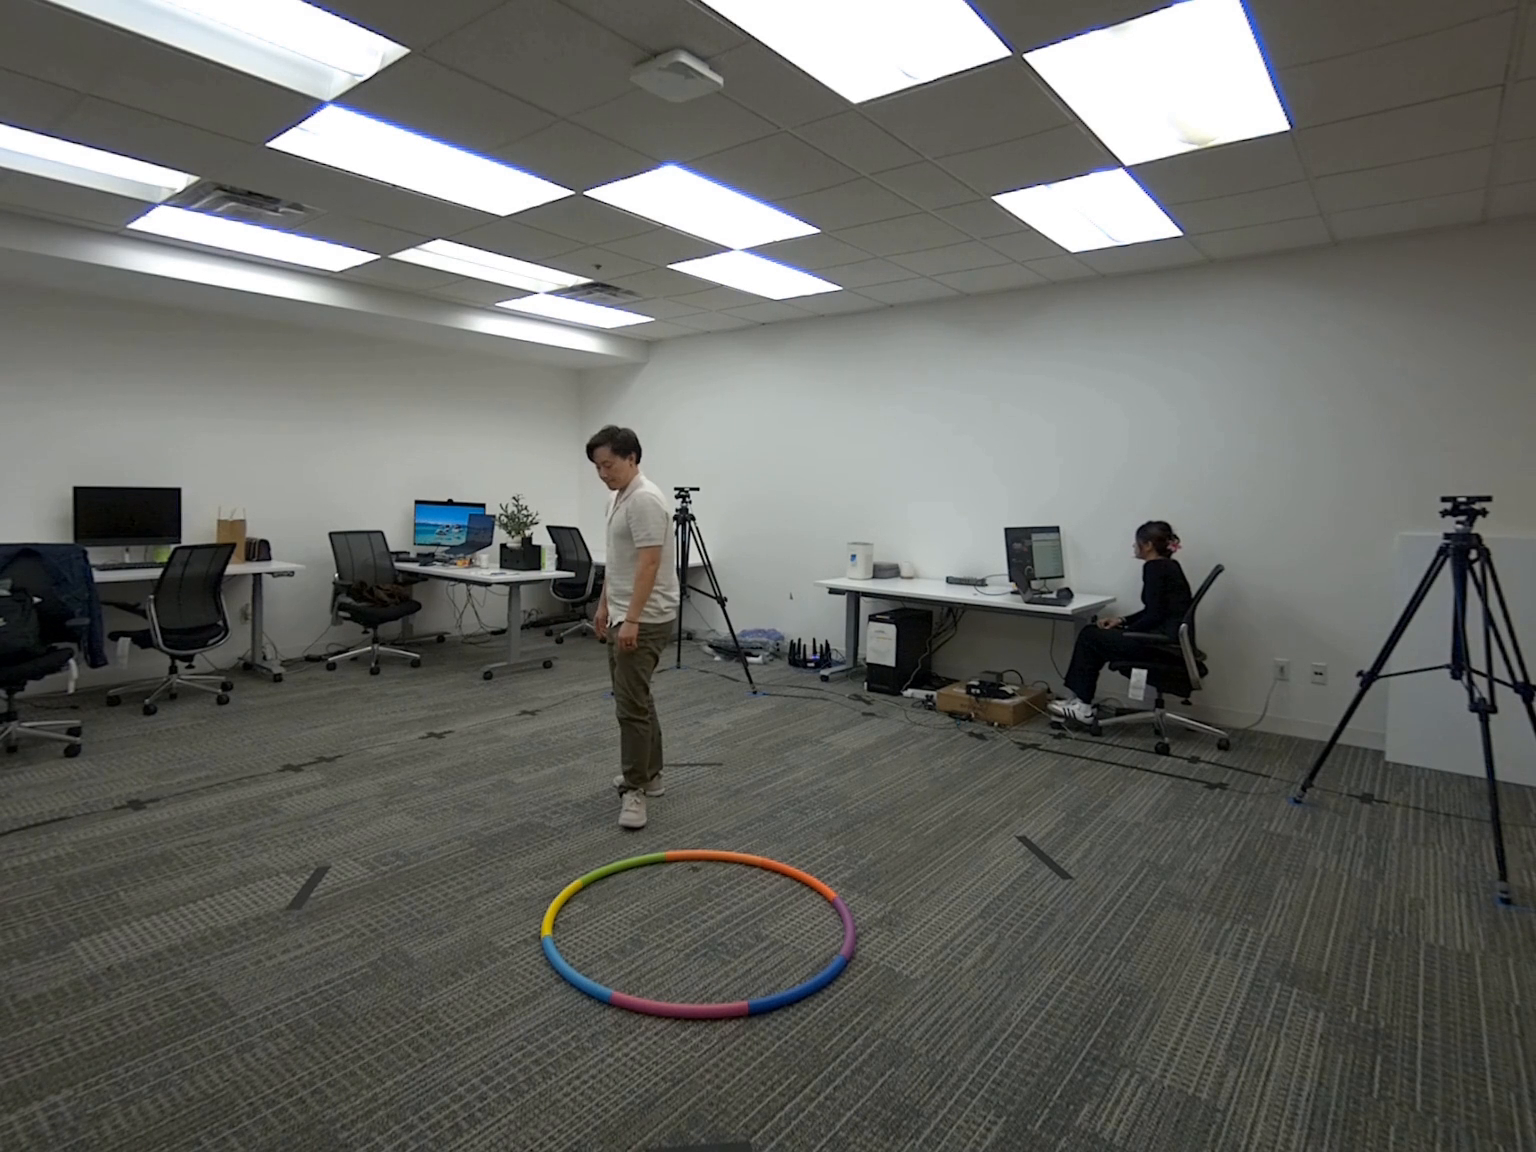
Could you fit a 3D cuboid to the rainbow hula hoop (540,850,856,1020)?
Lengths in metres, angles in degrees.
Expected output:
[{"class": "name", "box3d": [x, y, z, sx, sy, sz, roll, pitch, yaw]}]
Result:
[{"class": "rainbow hula hoop", "box3d": [-0.227, 1.077, 2.707, 0.978, 0.035, 0.983, 1, 5, -2]}]
